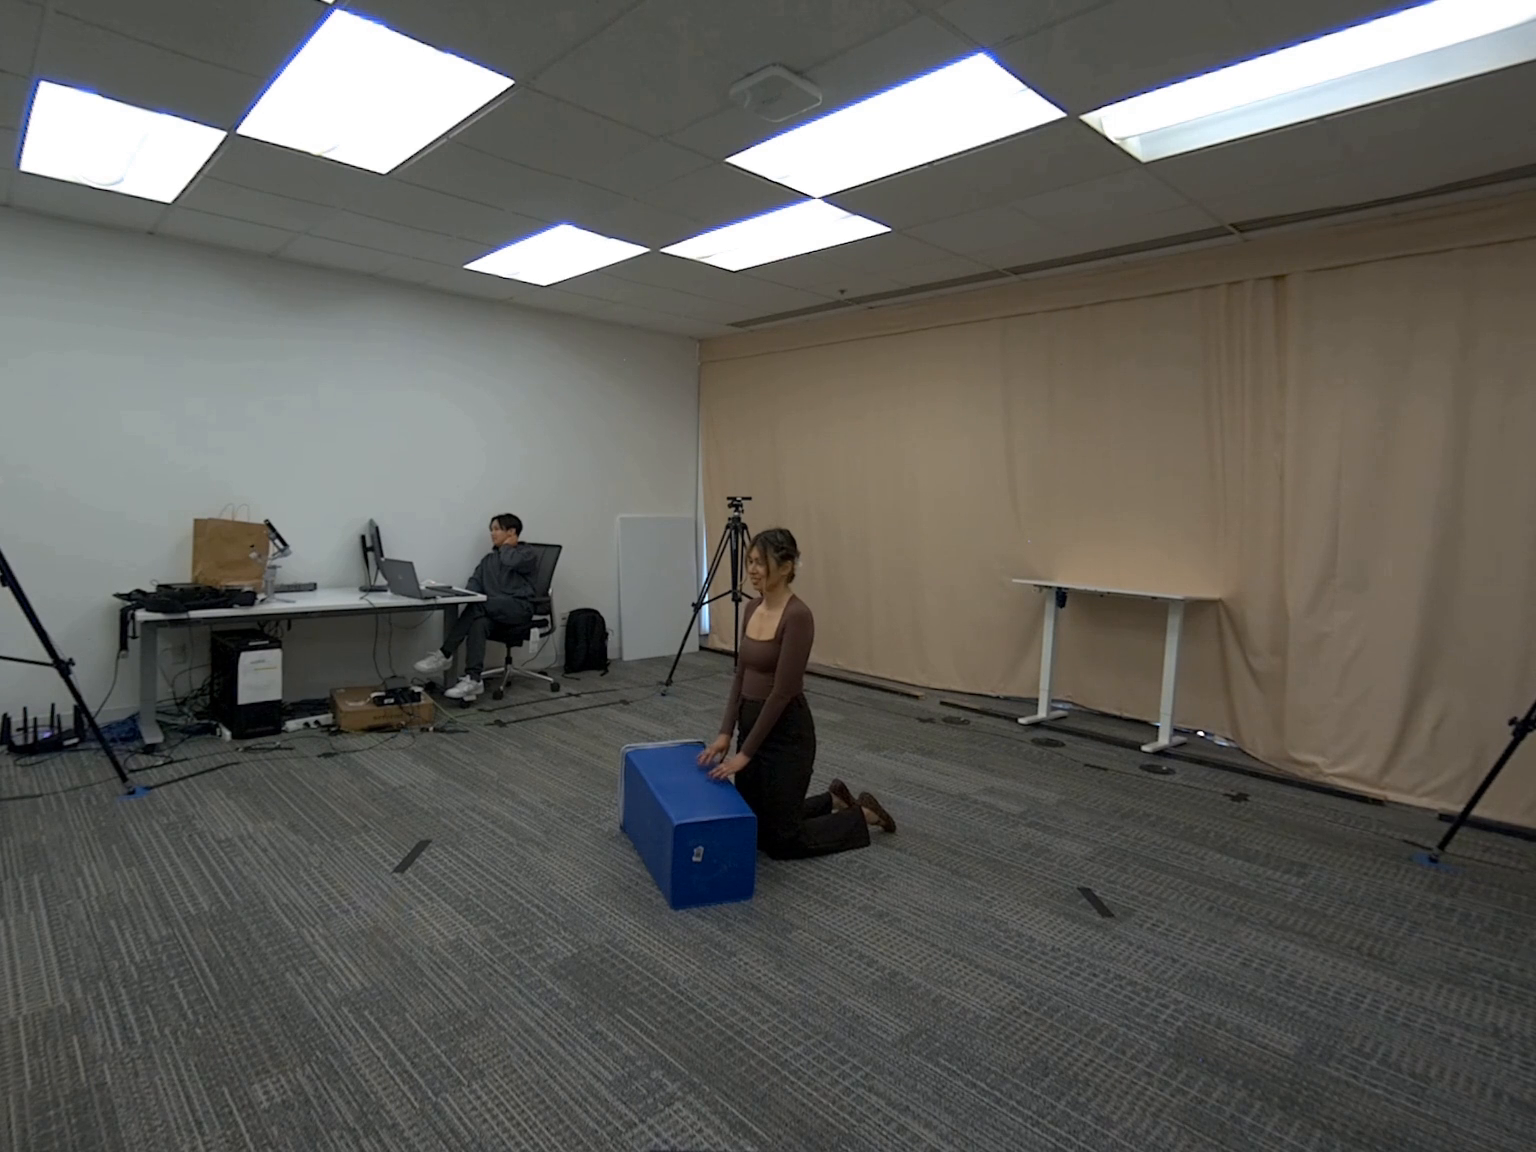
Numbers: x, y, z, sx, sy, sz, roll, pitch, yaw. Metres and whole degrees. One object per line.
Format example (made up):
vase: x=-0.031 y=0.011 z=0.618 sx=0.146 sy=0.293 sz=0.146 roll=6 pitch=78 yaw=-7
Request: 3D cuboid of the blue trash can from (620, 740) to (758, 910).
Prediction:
blue trash can: x=-0.323 y=0.920 z=3.196 sx=0.368 sy=0.376 sz=0.727 roll=1 pitch=6 yaw=-20
